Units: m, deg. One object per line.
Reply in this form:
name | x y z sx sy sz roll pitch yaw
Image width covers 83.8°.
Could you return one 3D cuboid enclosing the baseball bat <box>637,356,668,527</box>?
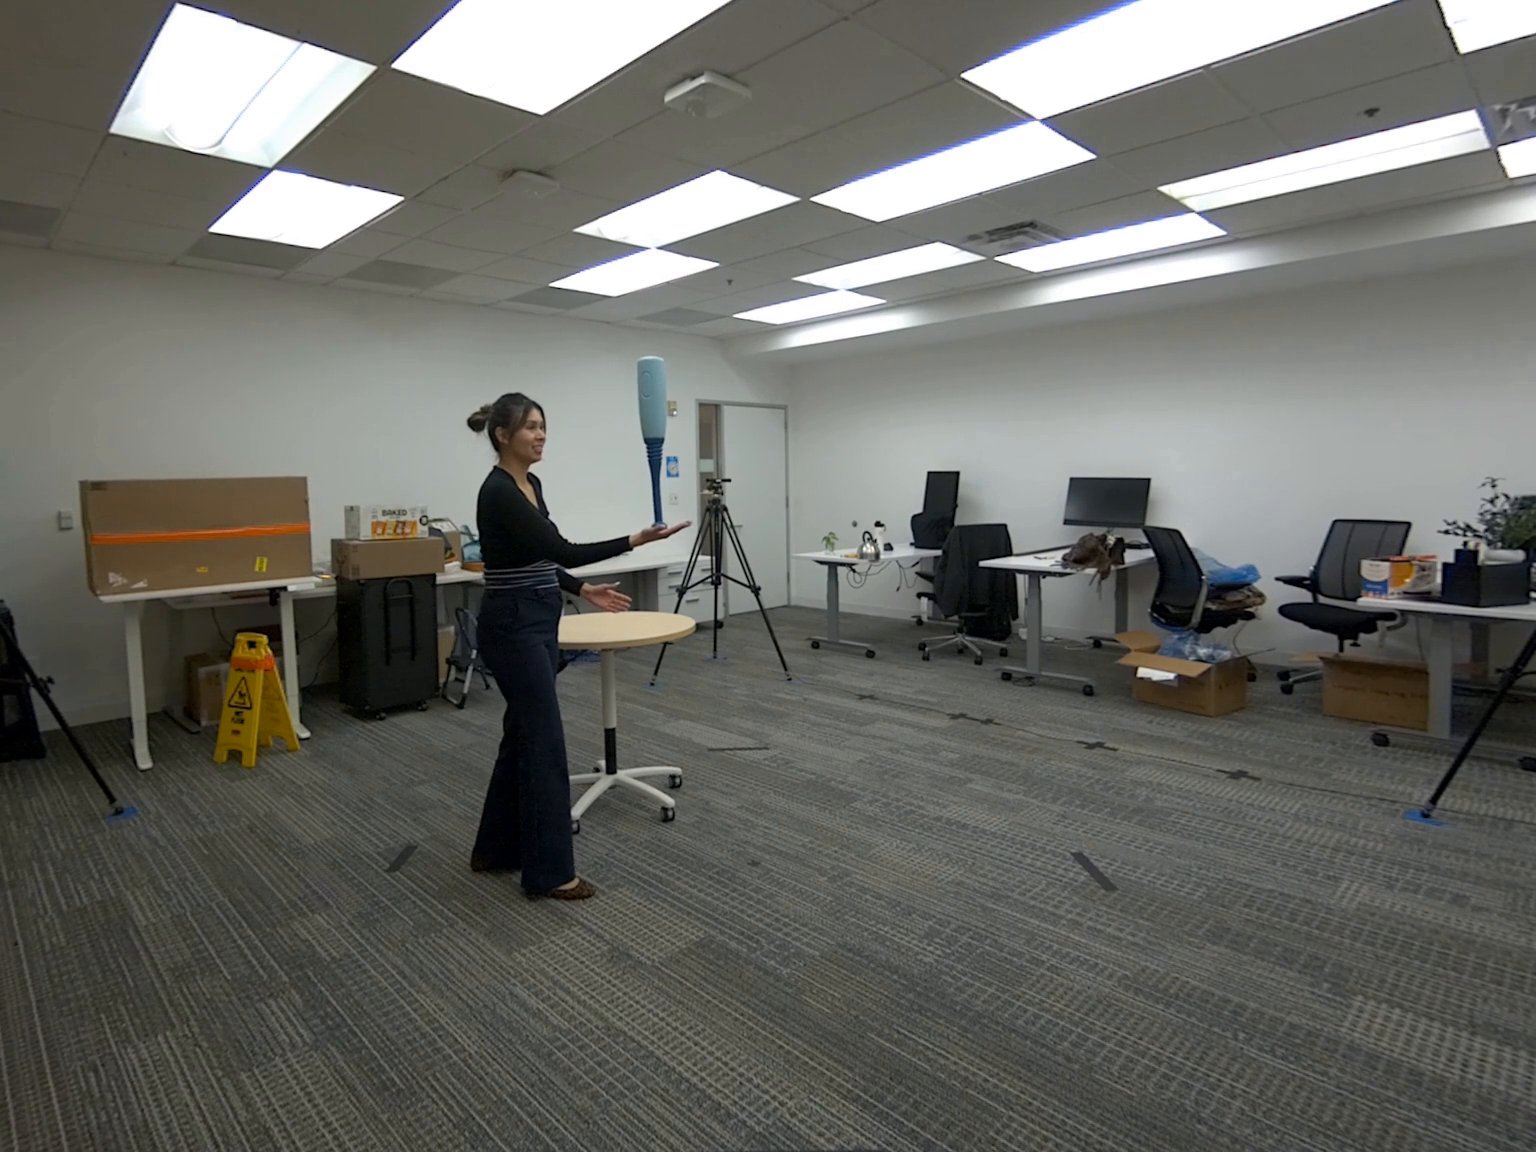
baseball bat | -0.365 -0.412 2.683 0.089 0.541 0.089 -2 3 -1
